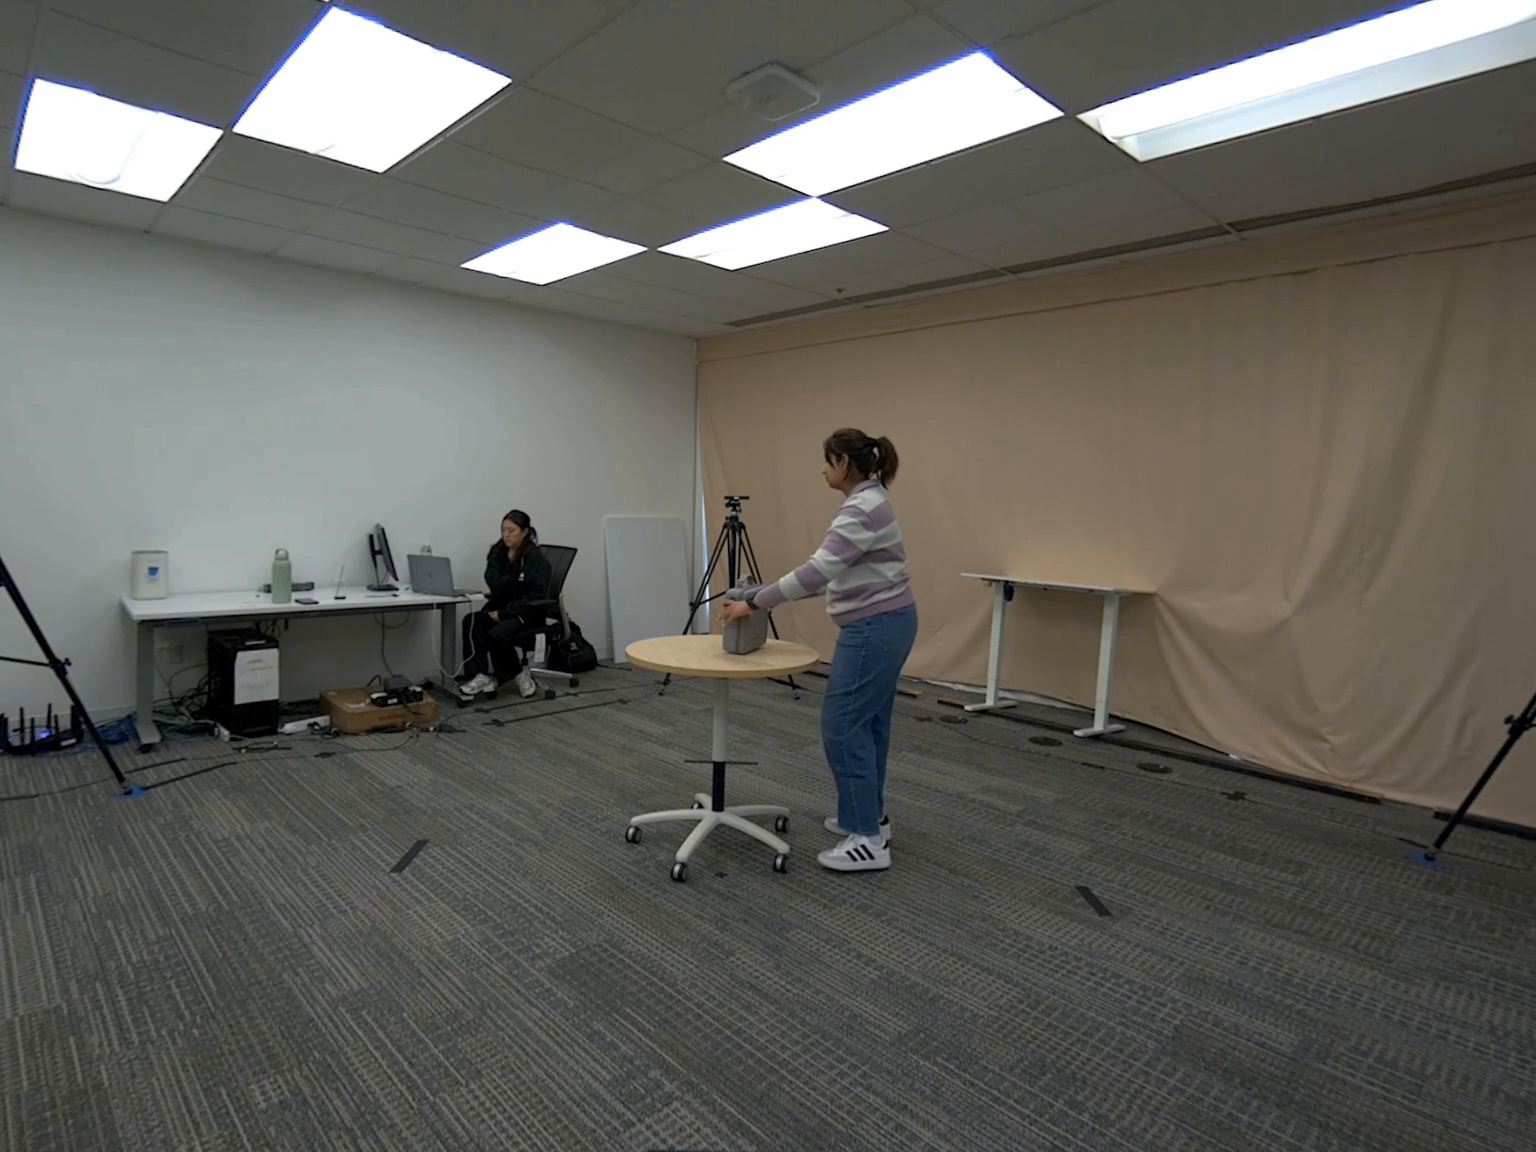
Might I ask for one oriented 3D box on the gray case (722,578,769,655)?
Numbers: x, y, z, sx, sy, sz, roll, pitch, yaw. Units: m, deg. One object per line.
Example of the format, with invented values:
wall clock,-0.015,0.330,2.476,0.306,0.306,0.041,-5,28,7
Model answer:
gray case,-0.089,0.165,3.358,0.106,0.259,0.253,6,7,20
